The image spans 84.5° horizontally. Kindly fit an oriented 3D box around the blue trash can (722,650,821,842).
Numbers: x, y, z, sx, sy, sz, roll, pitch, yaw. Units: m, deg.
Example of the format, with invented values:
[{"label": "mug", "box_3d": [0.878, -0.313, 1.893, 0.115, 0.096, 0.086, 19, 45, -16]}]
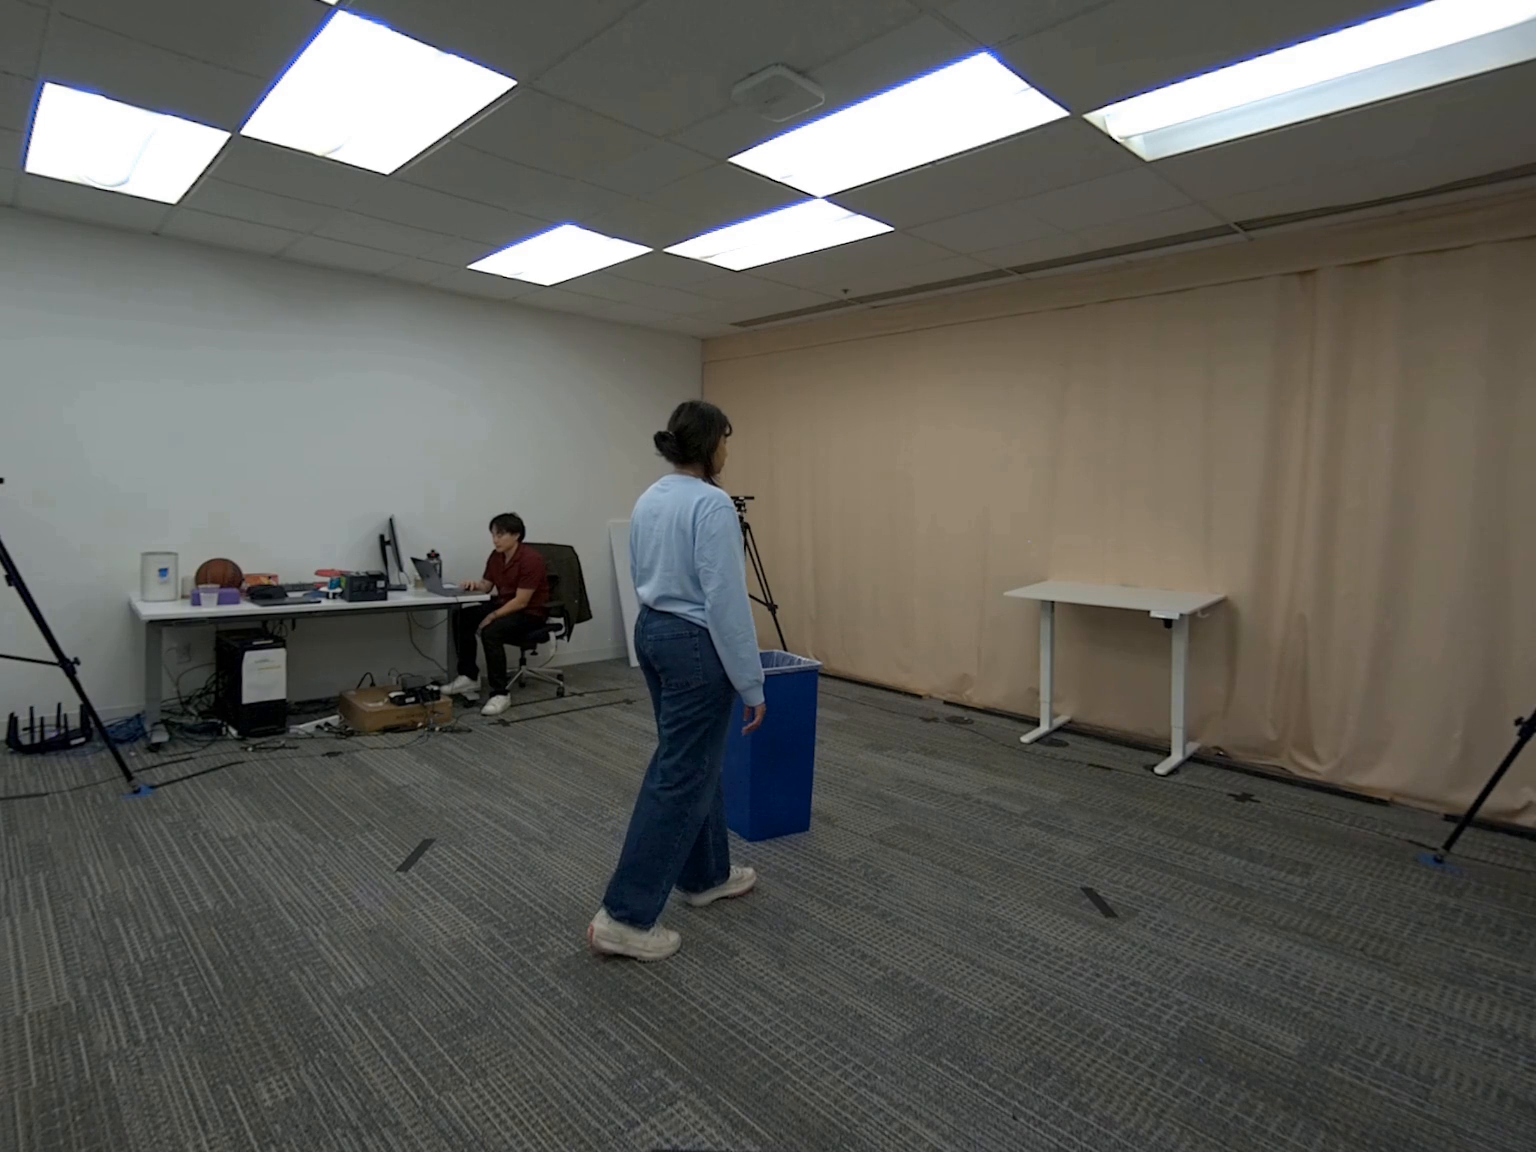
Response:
[{"label": "blue trash can", "box_3d": [-0.029, 0.710, 3.584, 0.366, 0.712, 0.387, 0, 3, -32]}]
